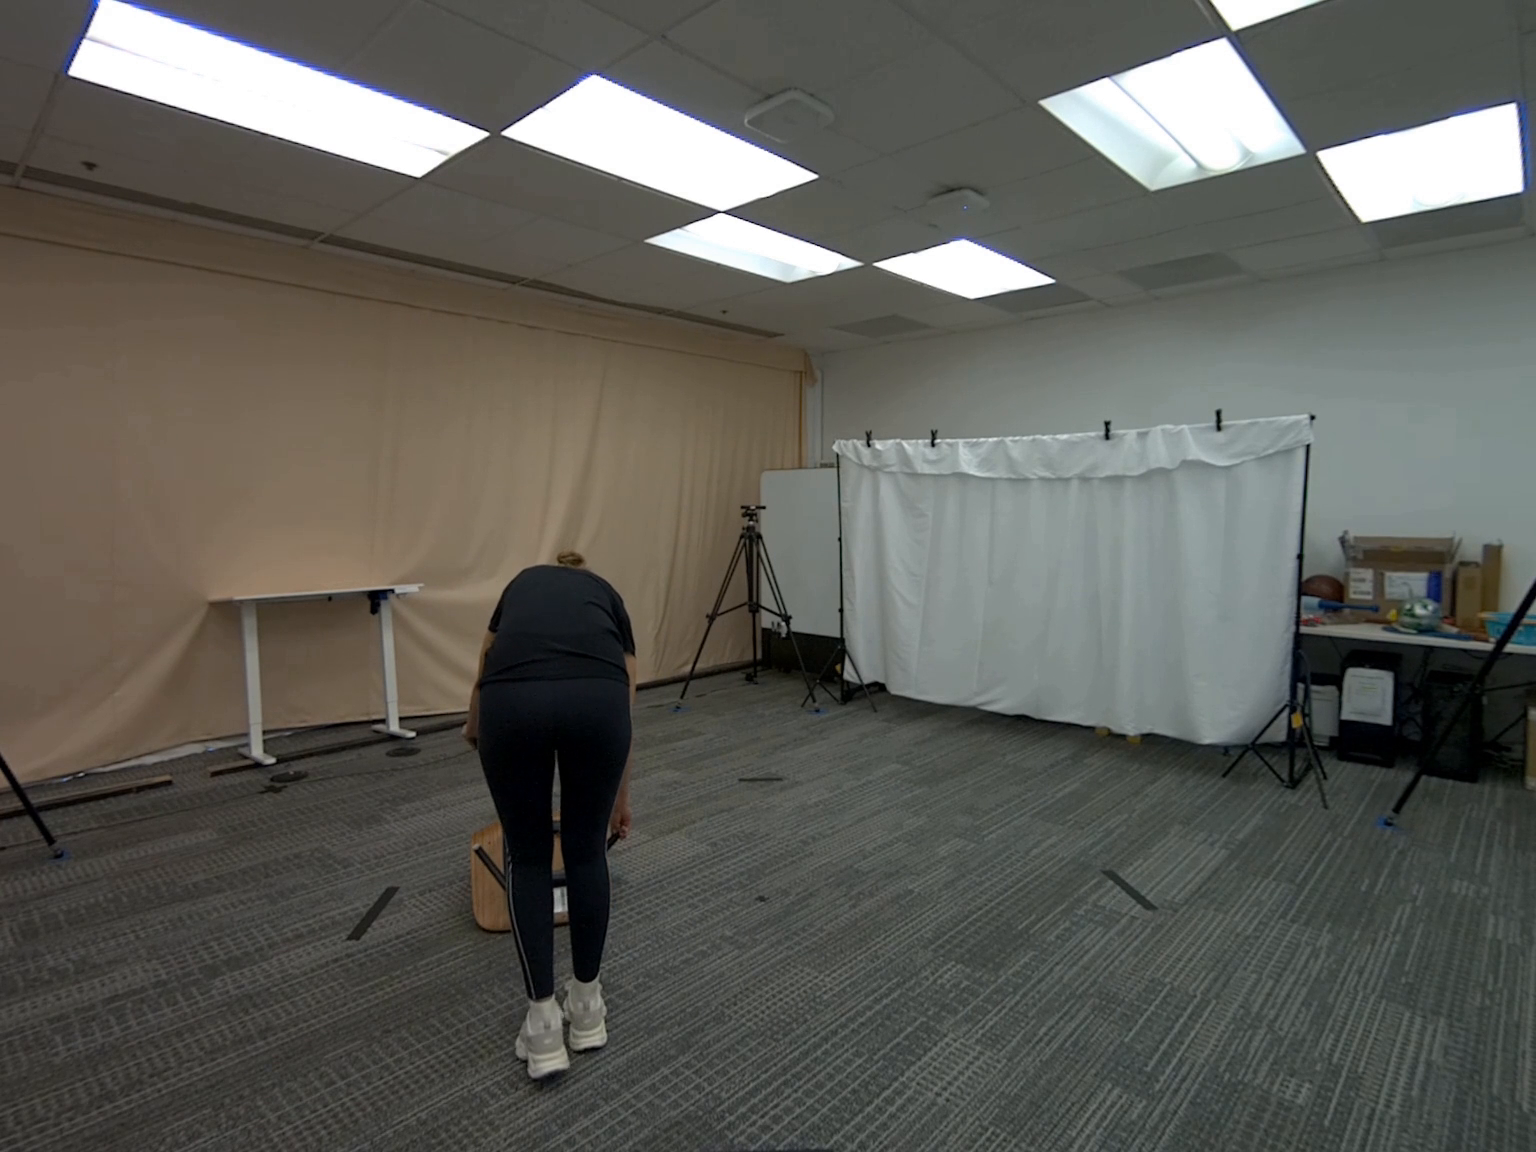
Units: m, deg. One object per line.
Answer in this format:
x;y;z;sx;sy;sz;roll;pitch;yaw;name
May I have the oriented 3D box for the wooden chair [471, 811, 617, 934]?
-0.803;0.979;2.957;0.469;0.868;0.538;-2;44;-19;wooden chair
